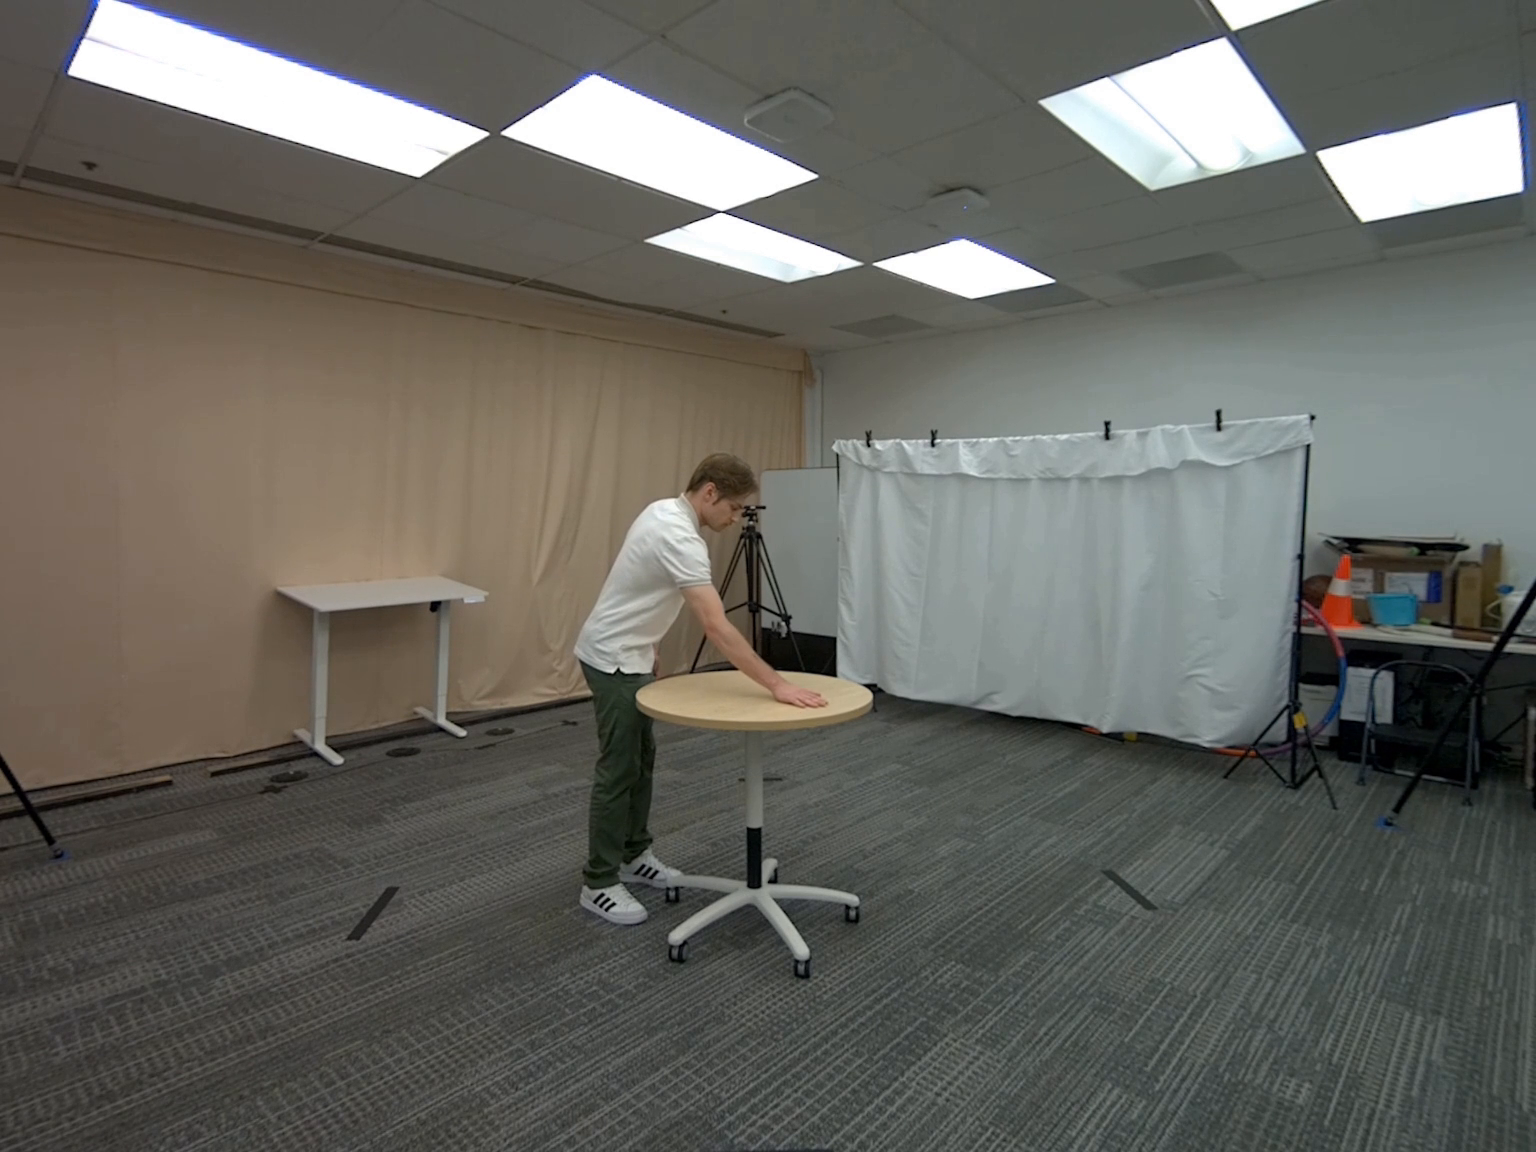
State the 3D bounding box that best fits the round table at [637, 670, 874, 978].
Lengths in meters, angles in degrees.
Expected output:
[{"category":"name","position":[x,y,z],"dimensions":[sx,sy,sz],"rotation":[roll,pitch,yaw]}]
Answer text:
[{"category":"round table","position":[-0.035,0.770,2.744],"dimensions":[0.784,0.785,0.787],"rotation":[-1,3,-2]}]
